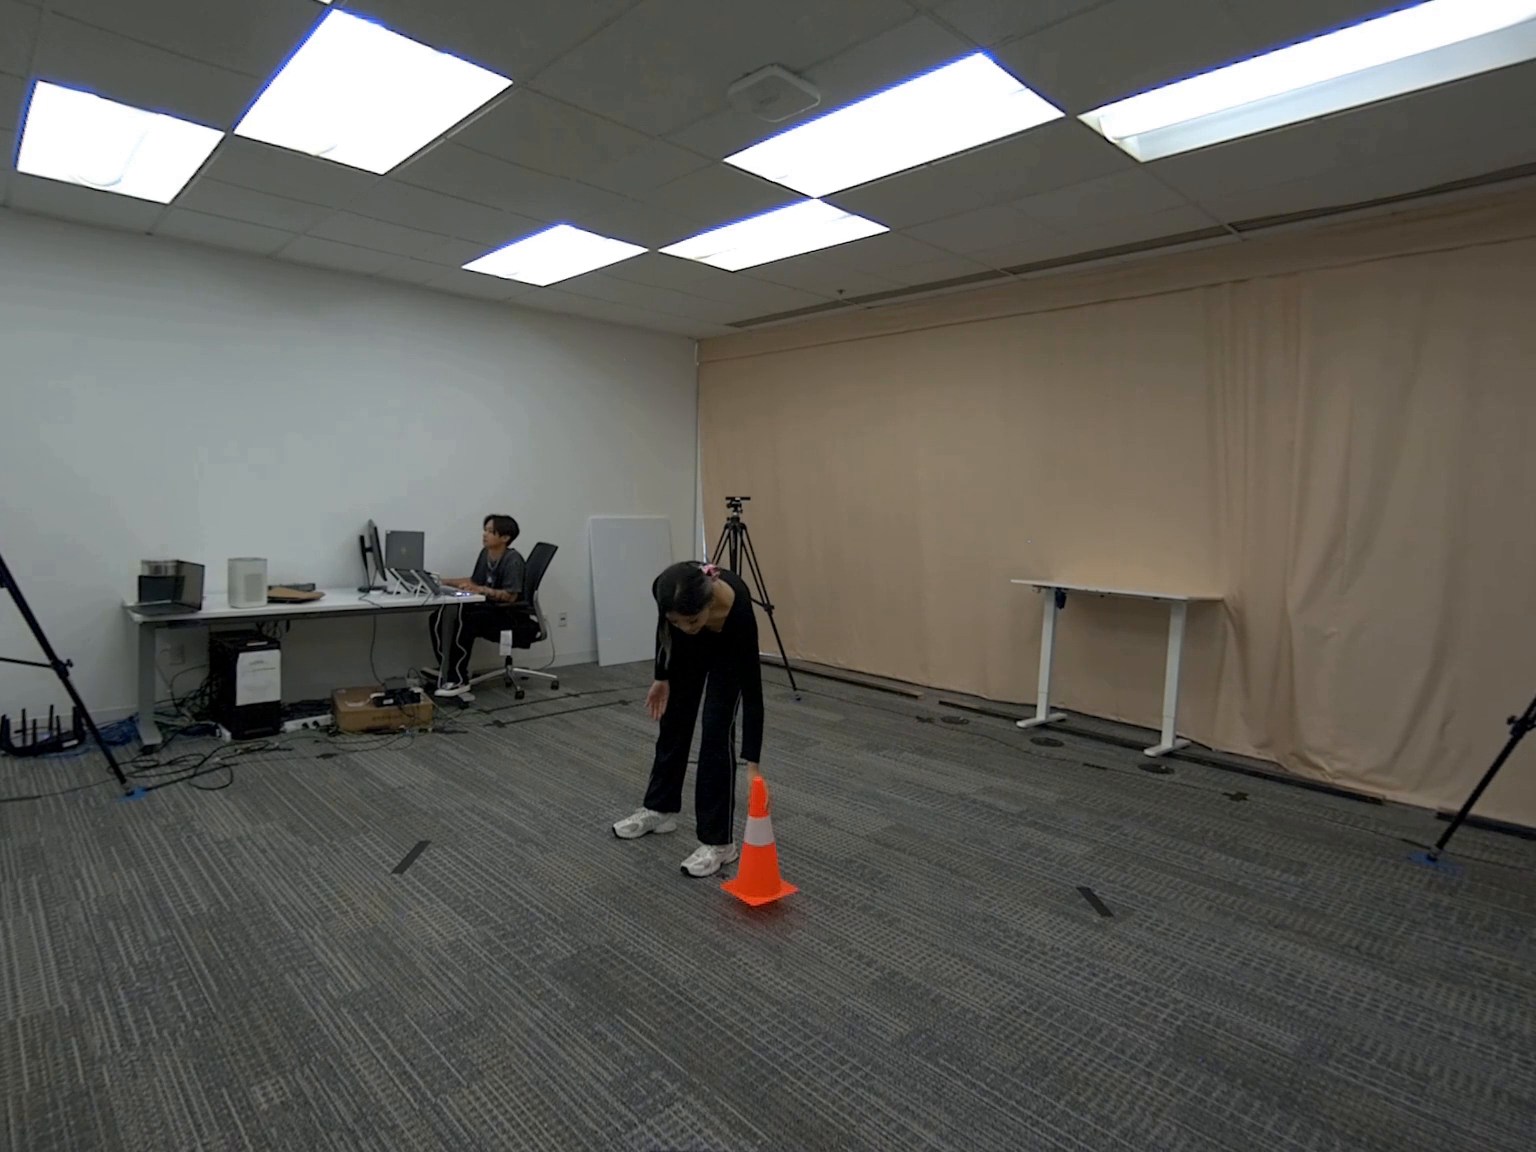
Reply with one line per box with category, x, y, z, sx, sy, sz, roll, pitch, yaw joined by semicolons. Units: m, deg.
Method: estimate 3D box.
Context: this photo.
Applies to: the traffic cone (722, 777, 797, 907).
traffic cone;-0.041;0.872;2.857;0.200;0.383;0.208;-2;4;-35
